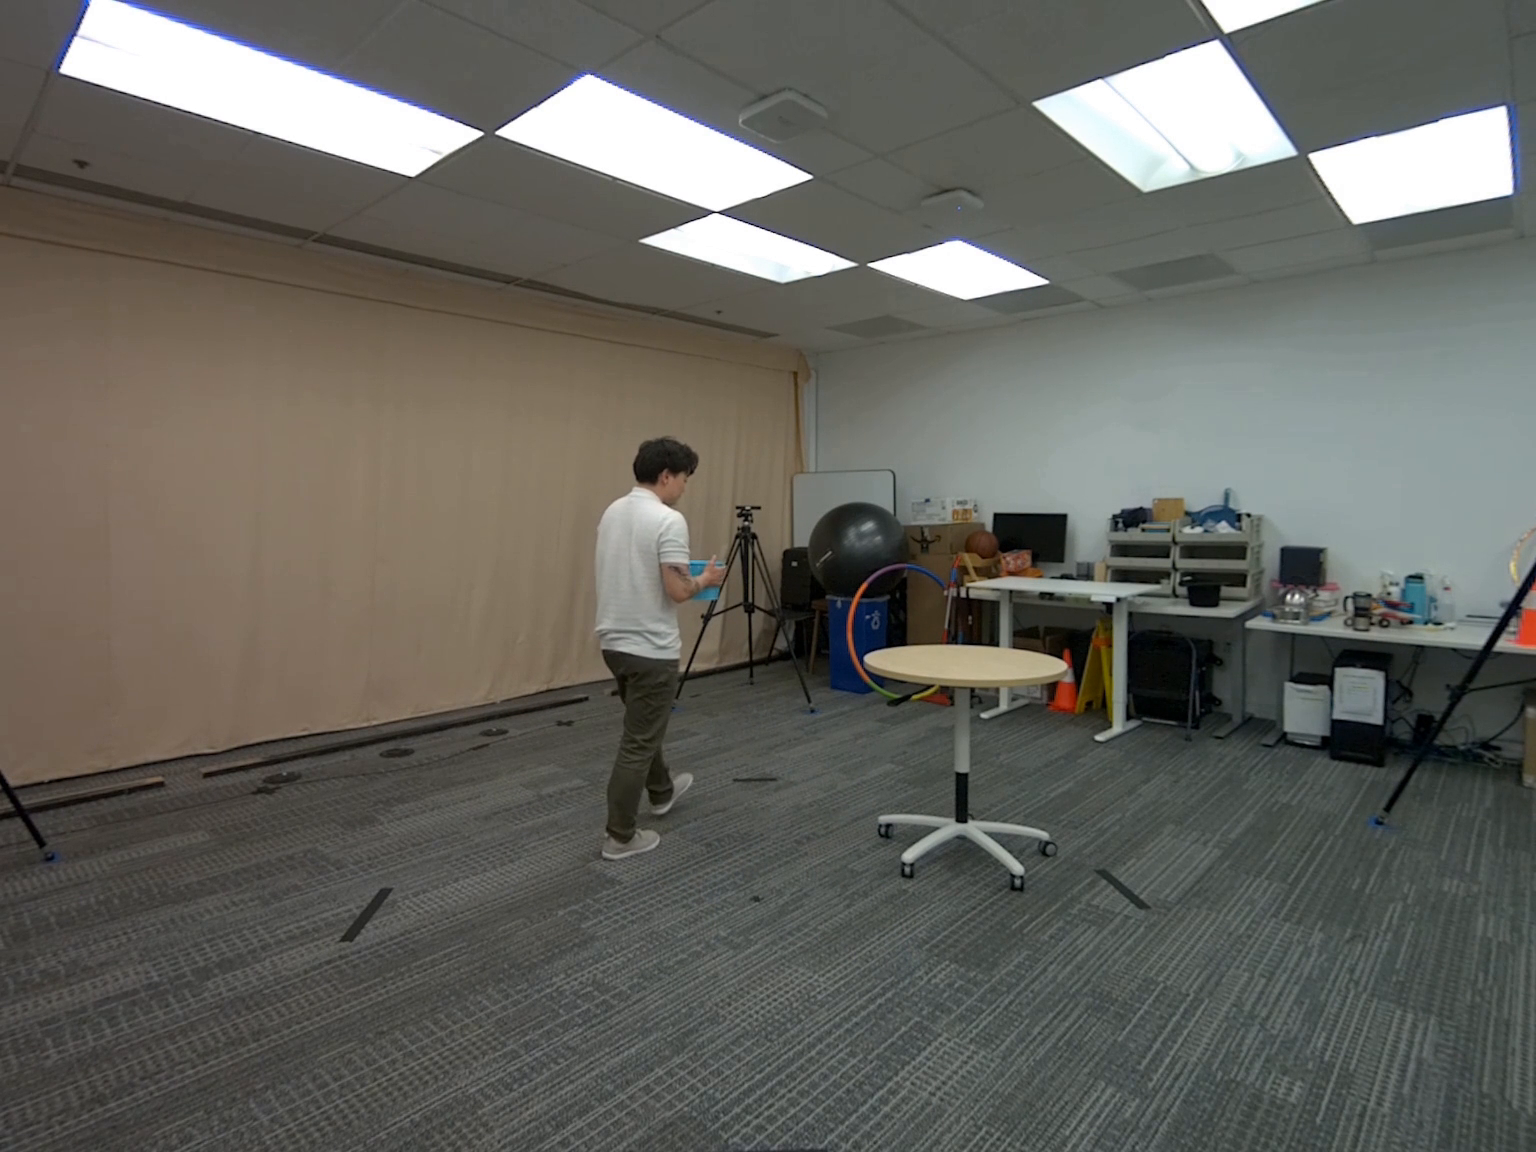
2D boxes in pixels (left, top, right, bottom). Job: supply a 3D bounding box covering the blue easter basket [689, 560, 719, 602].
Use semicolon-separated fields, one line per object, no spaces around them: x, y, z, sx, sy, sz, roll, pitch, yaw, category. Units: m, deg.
-0.311;0.020;3.530;0.243;0.156;0.244;0;3;-2;blue easter basket
